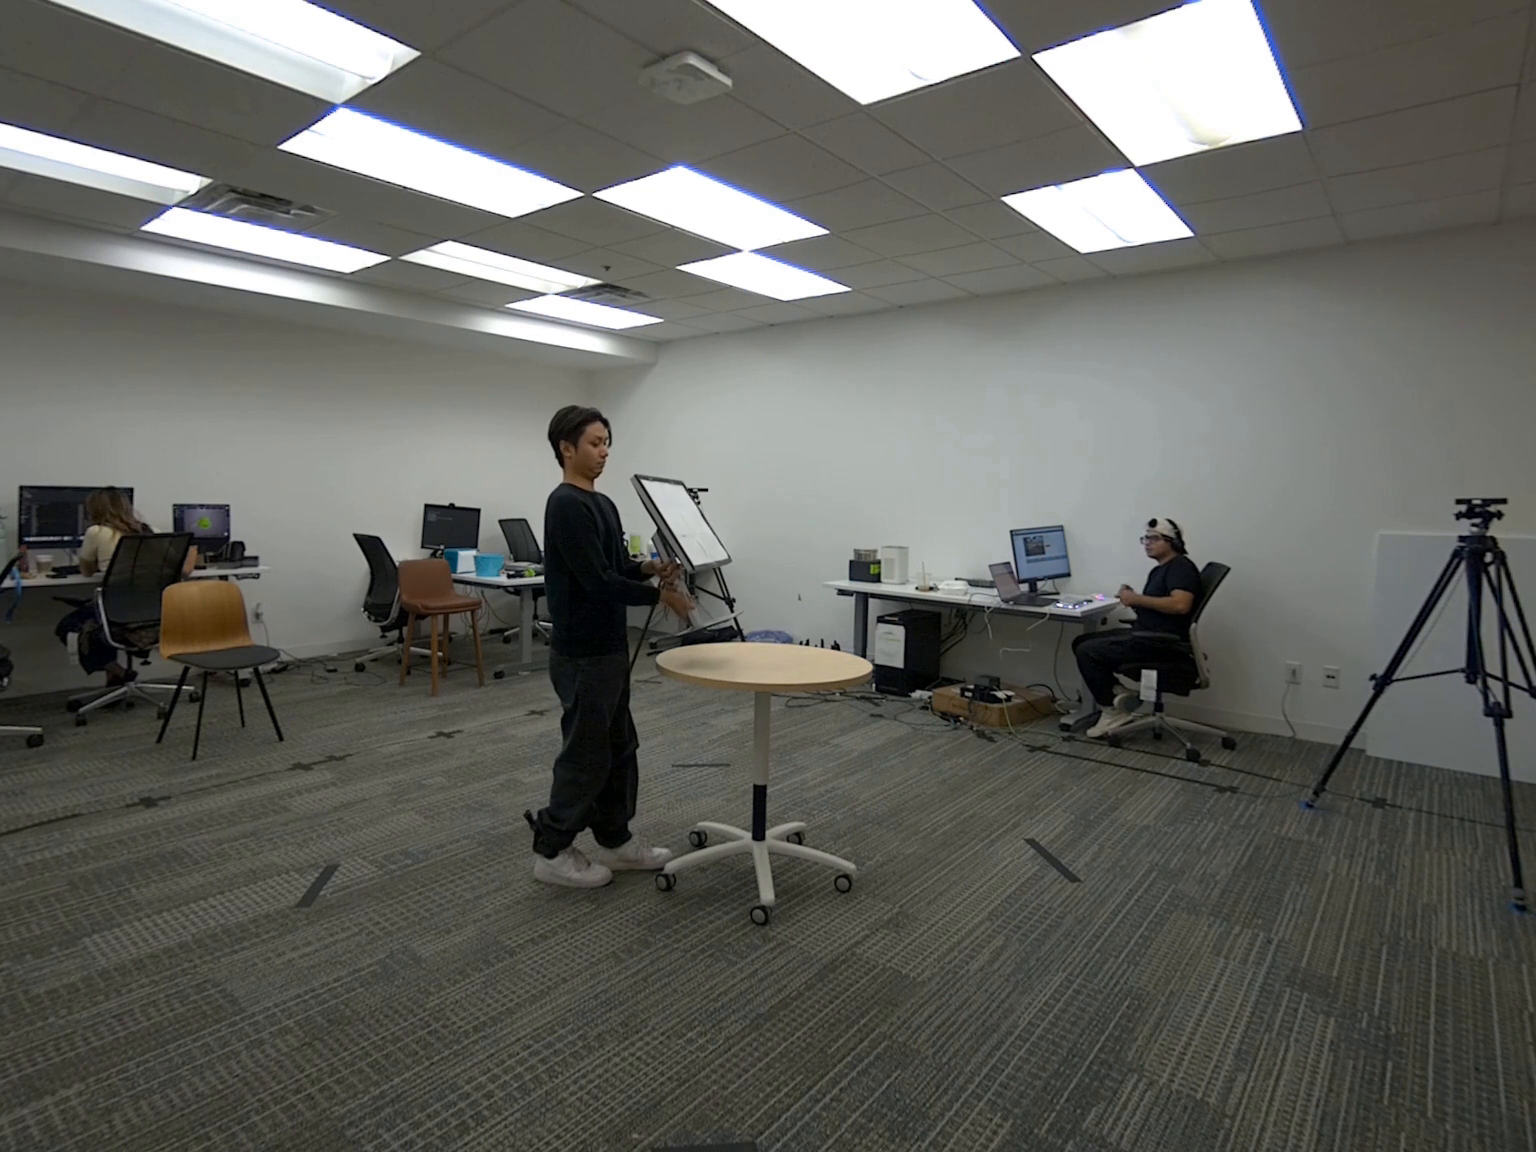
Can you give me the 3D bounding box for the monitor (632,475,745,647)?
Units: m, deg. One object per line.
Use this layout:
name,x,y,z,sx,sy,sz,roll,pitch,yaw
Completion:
monitor,-0.301,-0.080,2.937,0.188,0.525,0.533,-19,-2,9
